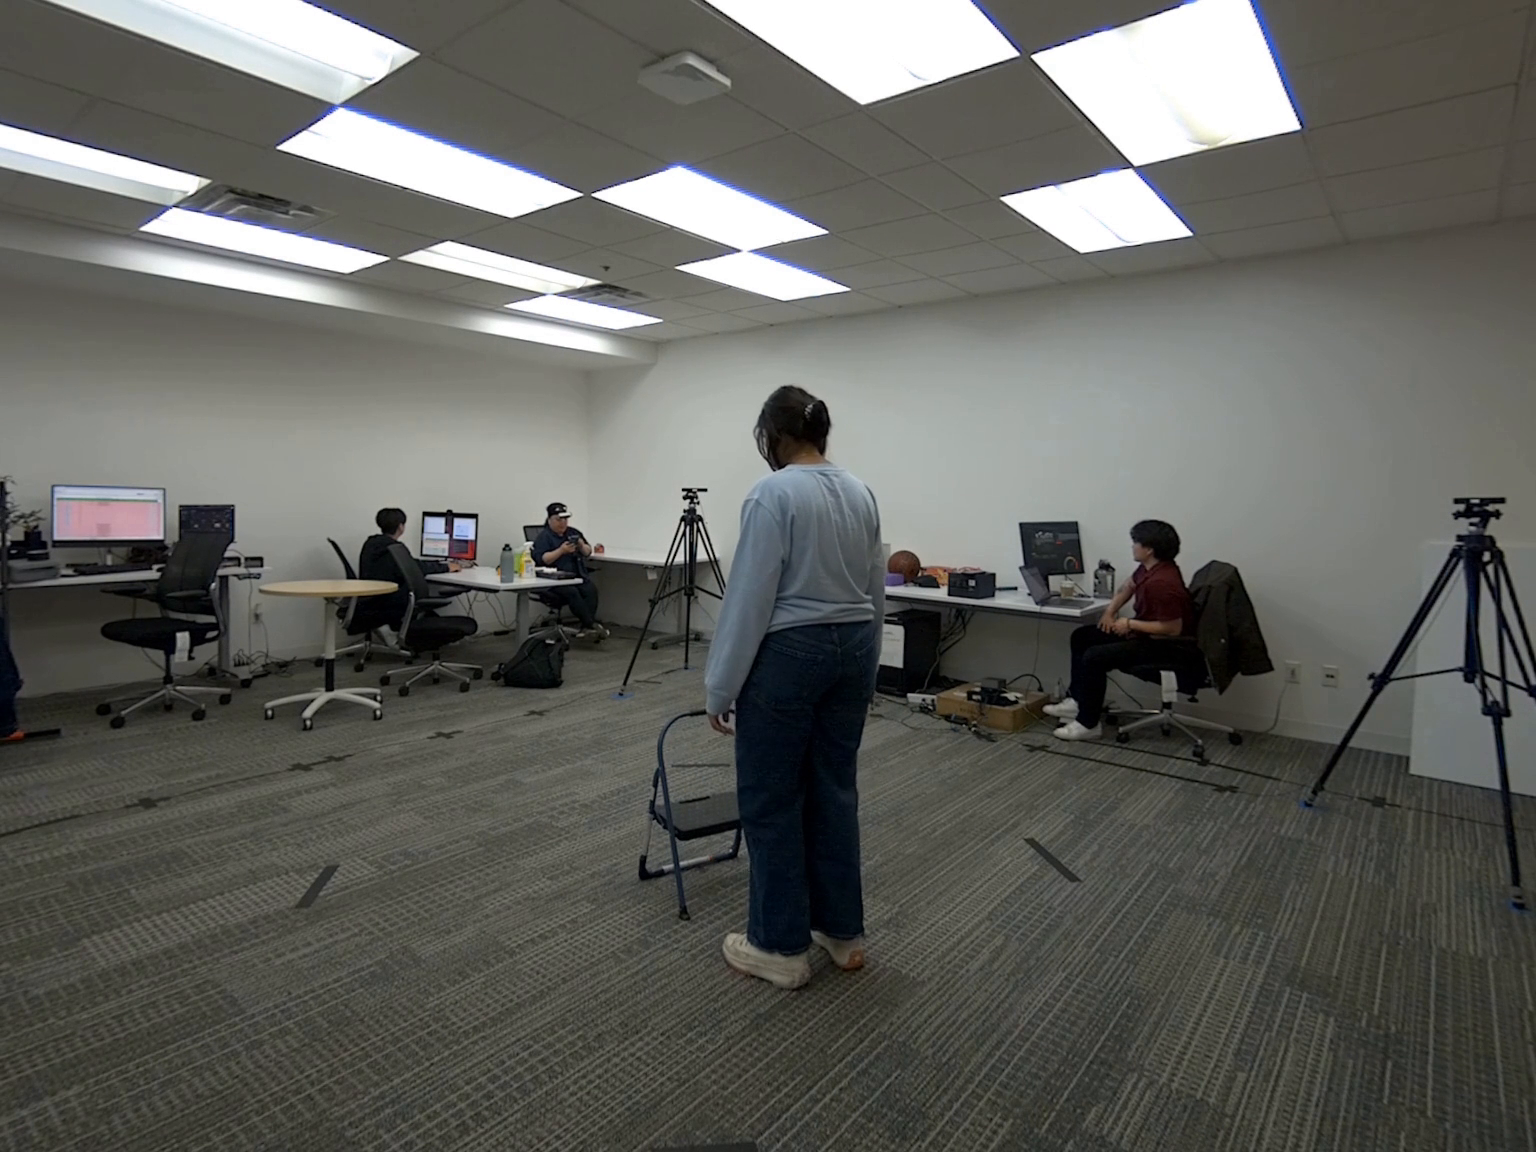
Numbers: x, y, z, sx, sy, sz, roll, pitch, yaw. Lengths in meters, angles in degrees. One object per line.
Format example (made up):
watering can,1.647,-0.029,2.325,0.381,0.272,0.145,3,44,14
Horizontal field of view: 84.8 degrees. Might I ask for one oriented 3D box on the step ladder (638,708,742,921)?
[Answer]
step ladder,-0.200,0.782,2.975,0.418,0.604,0.360,-1,4,-34
